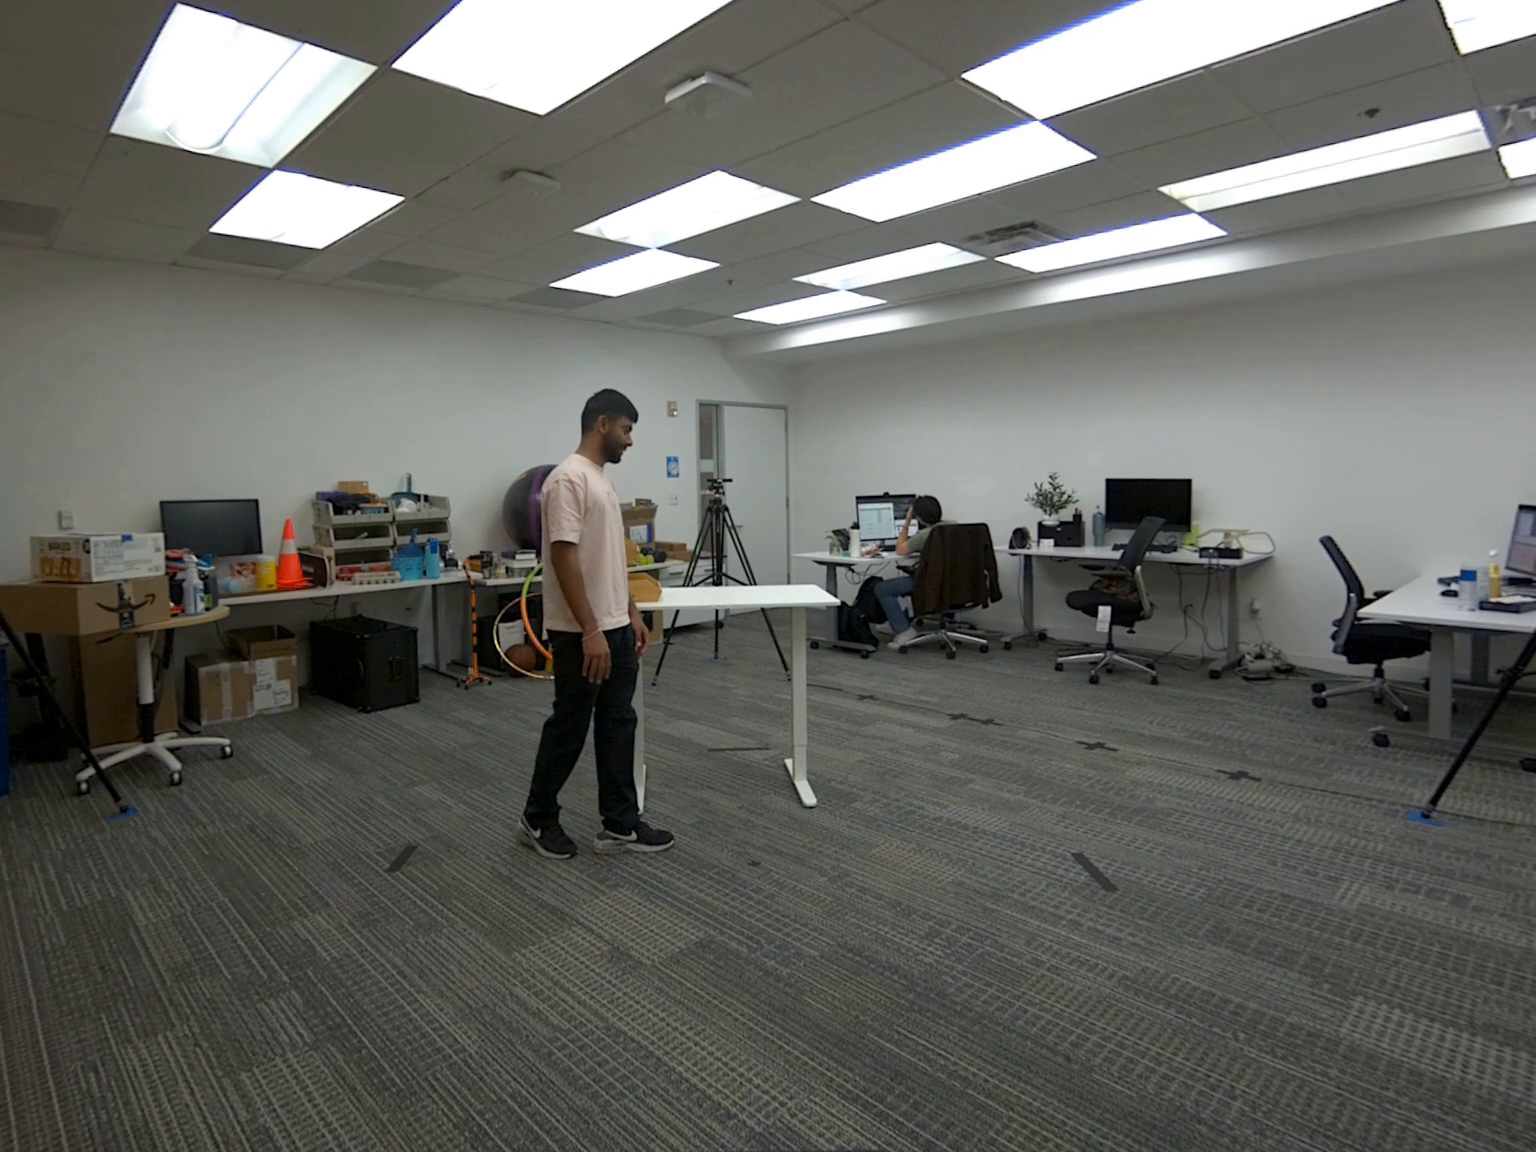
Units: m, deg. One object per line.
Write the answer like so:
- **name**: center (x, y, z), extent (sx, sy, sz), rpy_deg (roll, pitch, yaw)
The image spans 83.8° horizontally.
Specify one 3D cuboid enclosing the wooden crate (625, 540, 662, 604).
- **wooden crate**: center (-0.614, -0.037, 3.775), extent (0.300, 0.272, 0.328), rpy_deg (-4, 5, -8)
